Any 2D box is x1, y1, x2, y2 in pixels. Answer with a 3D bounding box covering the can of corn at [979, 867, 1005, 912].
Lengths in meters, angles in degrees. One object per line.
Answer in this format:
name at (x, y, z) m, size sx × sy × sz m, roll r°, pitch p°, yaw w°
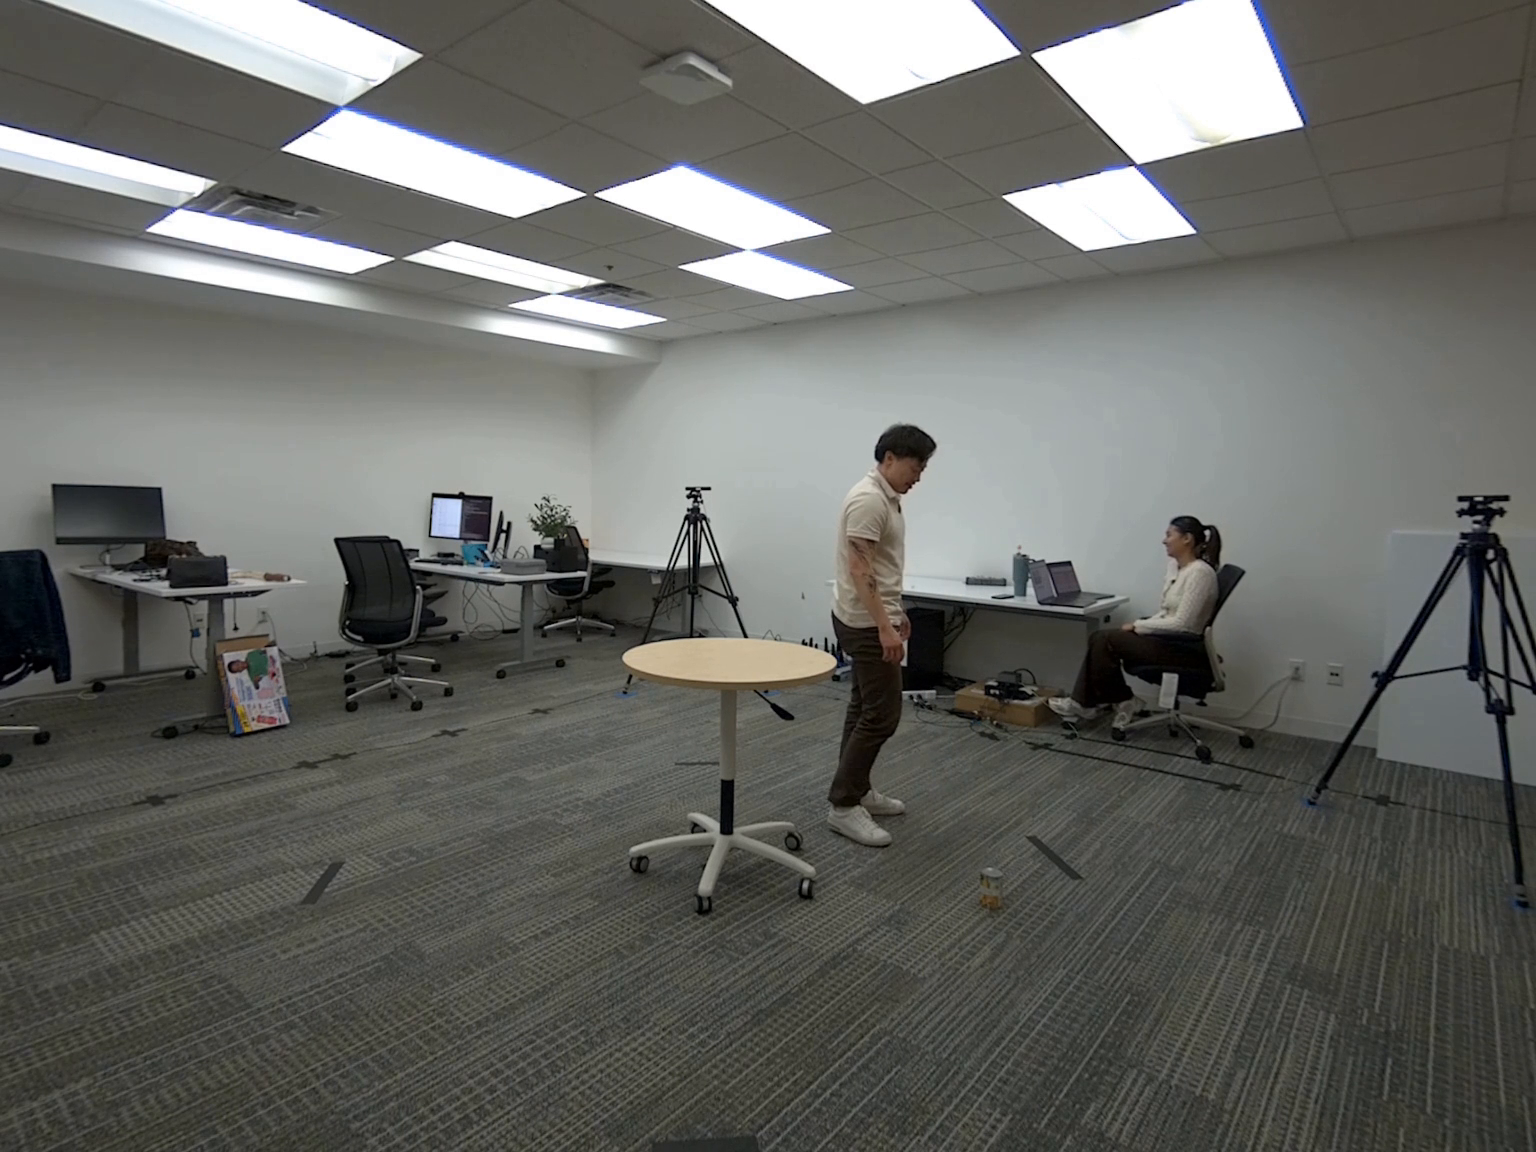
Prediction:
can of corn at (0.757, 1.050, 2.886) m, size 0.074 × 0.111 × 0.074 m, roll 7°, pitch 0°, yaw -2°
